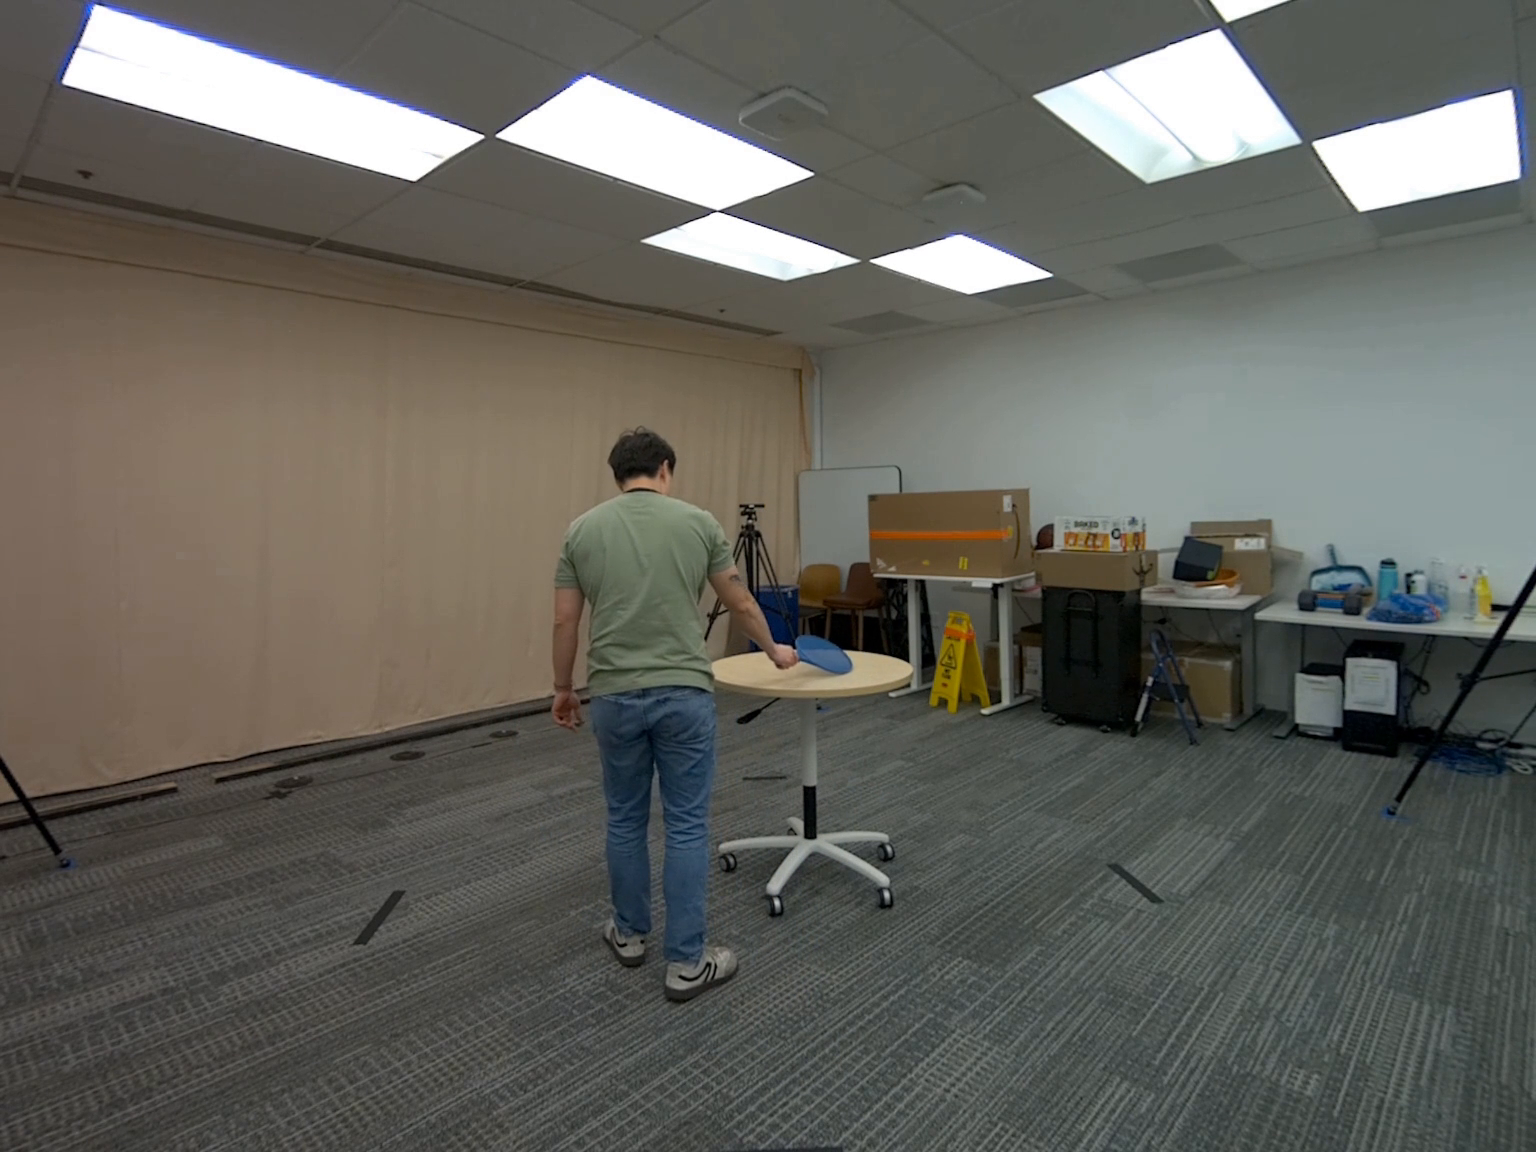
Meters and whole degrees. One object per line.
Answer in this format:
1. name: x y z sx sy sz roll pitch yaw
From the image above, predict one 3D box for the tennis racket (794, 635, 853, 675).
1. tennis racket: 0.178 0.284 2.968 0.220 0.032 0.420 38 19 27
